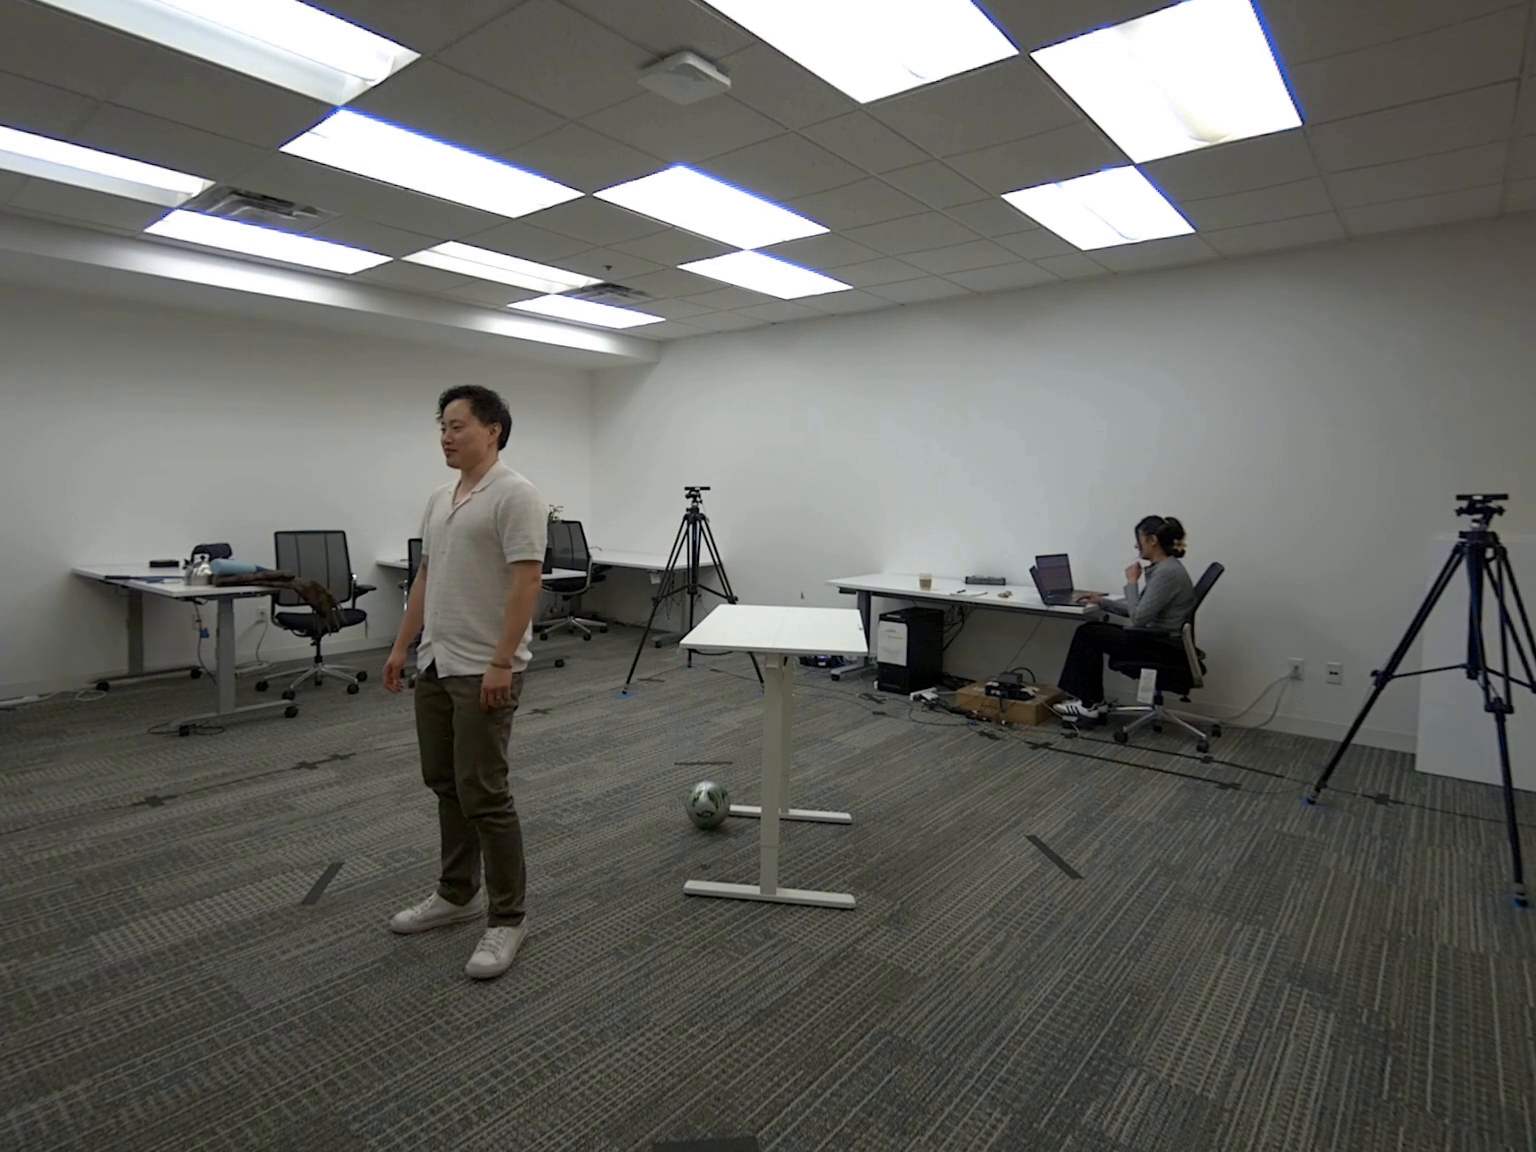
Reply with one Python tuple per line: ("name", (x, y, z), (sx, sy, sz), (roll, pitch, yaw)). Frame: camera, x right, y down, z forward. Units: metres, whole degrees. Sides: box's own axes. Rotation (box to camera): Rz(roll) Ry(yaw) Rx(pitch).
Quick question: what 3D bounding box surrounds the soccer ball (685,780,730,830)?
("soccer ball", (-0.260, 0.930, 3.488), (0.187, 0.187, 0.188), (1, 4, -2))
